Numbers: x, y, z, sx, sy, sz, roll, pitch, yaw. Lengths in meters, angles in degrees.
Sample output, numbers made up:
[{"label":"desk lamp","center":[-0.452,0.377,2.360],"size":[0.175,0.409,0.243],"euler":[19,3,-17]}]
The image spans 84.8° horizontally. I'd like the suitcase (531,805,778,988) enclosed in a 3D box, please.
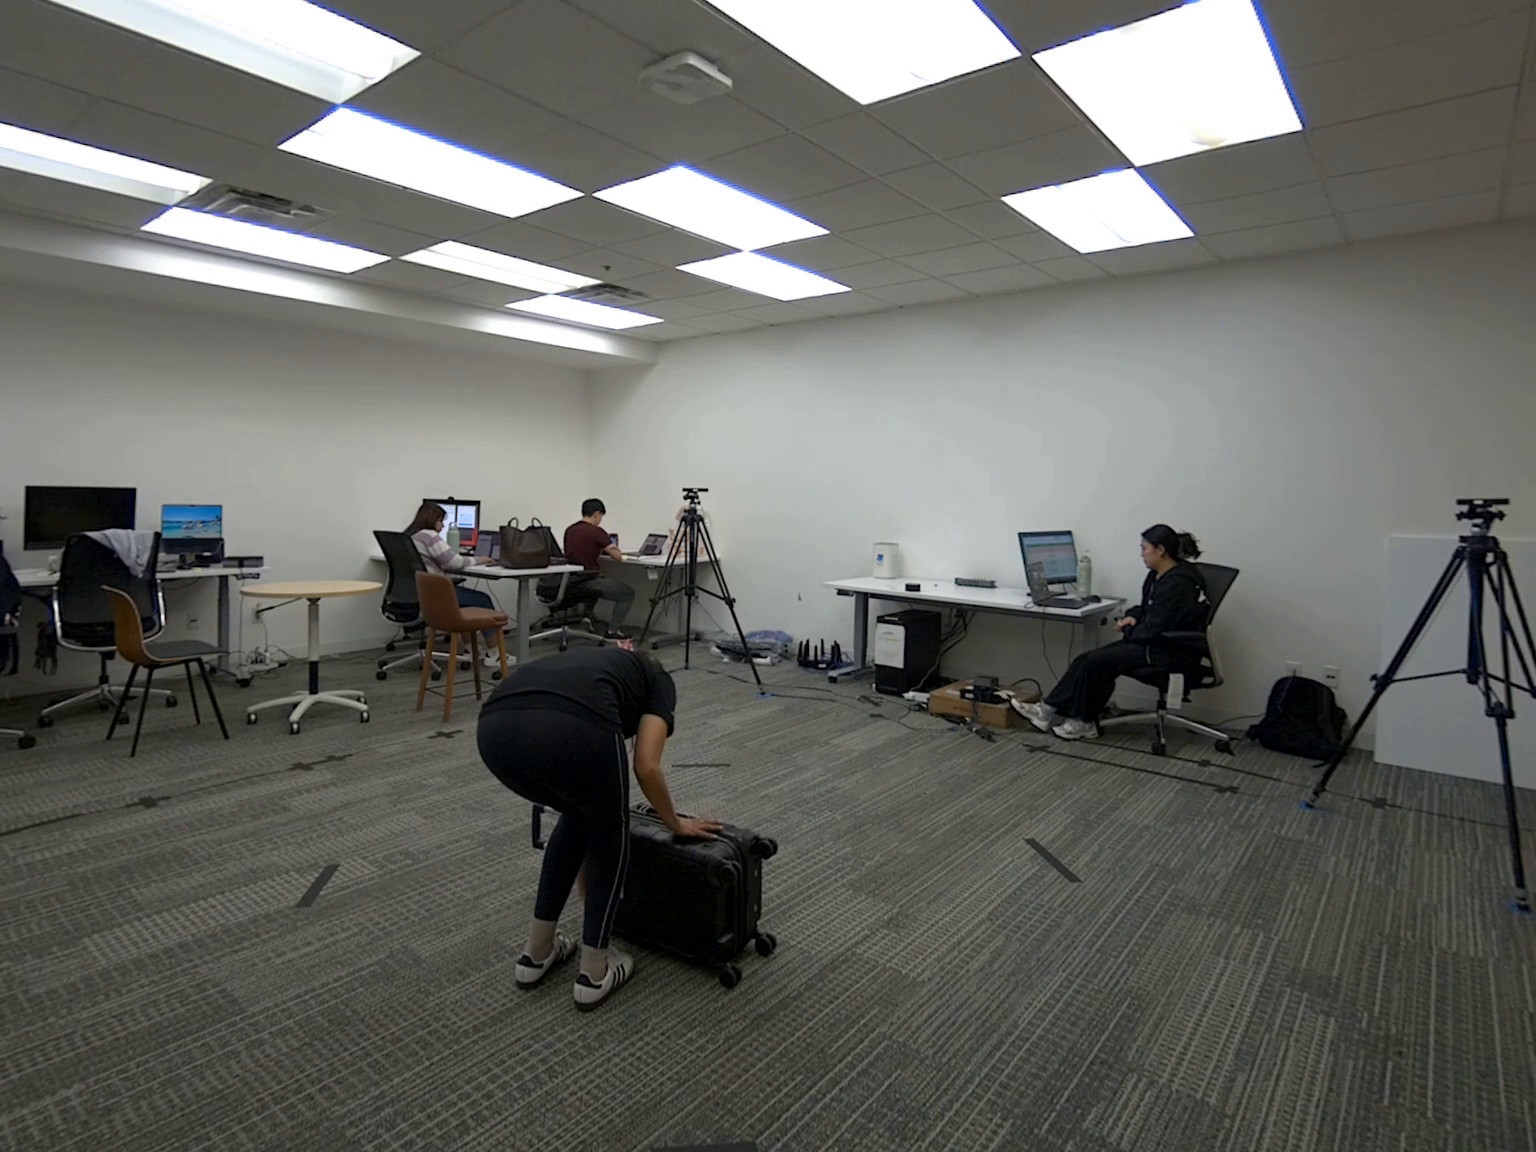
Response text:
[{"label":"suitcase","center":[-0.459,0.920,2.705],"size":[1.007,0.383,0.250],"euler":[4,5,30]}]
